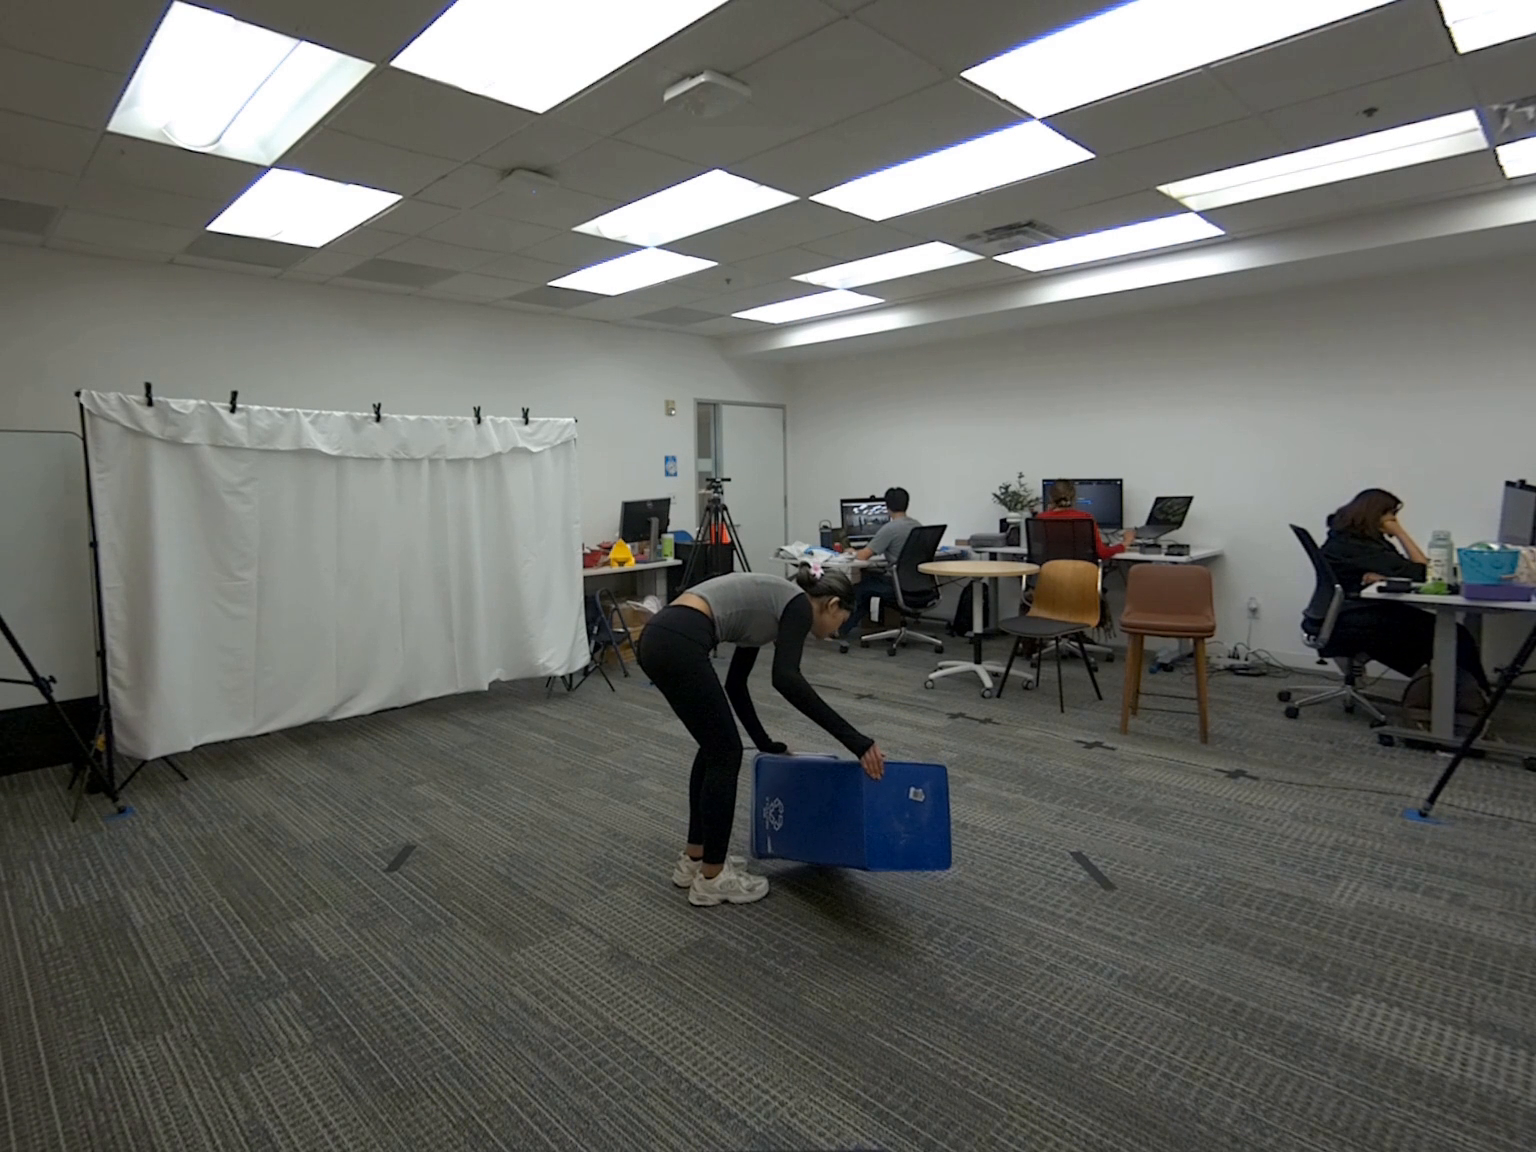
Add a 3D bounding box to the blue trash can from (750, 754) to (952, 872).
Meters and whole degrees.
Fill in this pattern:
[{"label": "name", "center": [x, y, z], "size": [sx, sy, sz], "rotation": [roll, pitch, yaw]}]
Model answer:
[{"label": "blue trash can", "center": [0.259, 0.765, 2.821], "size": [0.369, 0.379, 0.720], "rotation": [8, -16, -24]}]
